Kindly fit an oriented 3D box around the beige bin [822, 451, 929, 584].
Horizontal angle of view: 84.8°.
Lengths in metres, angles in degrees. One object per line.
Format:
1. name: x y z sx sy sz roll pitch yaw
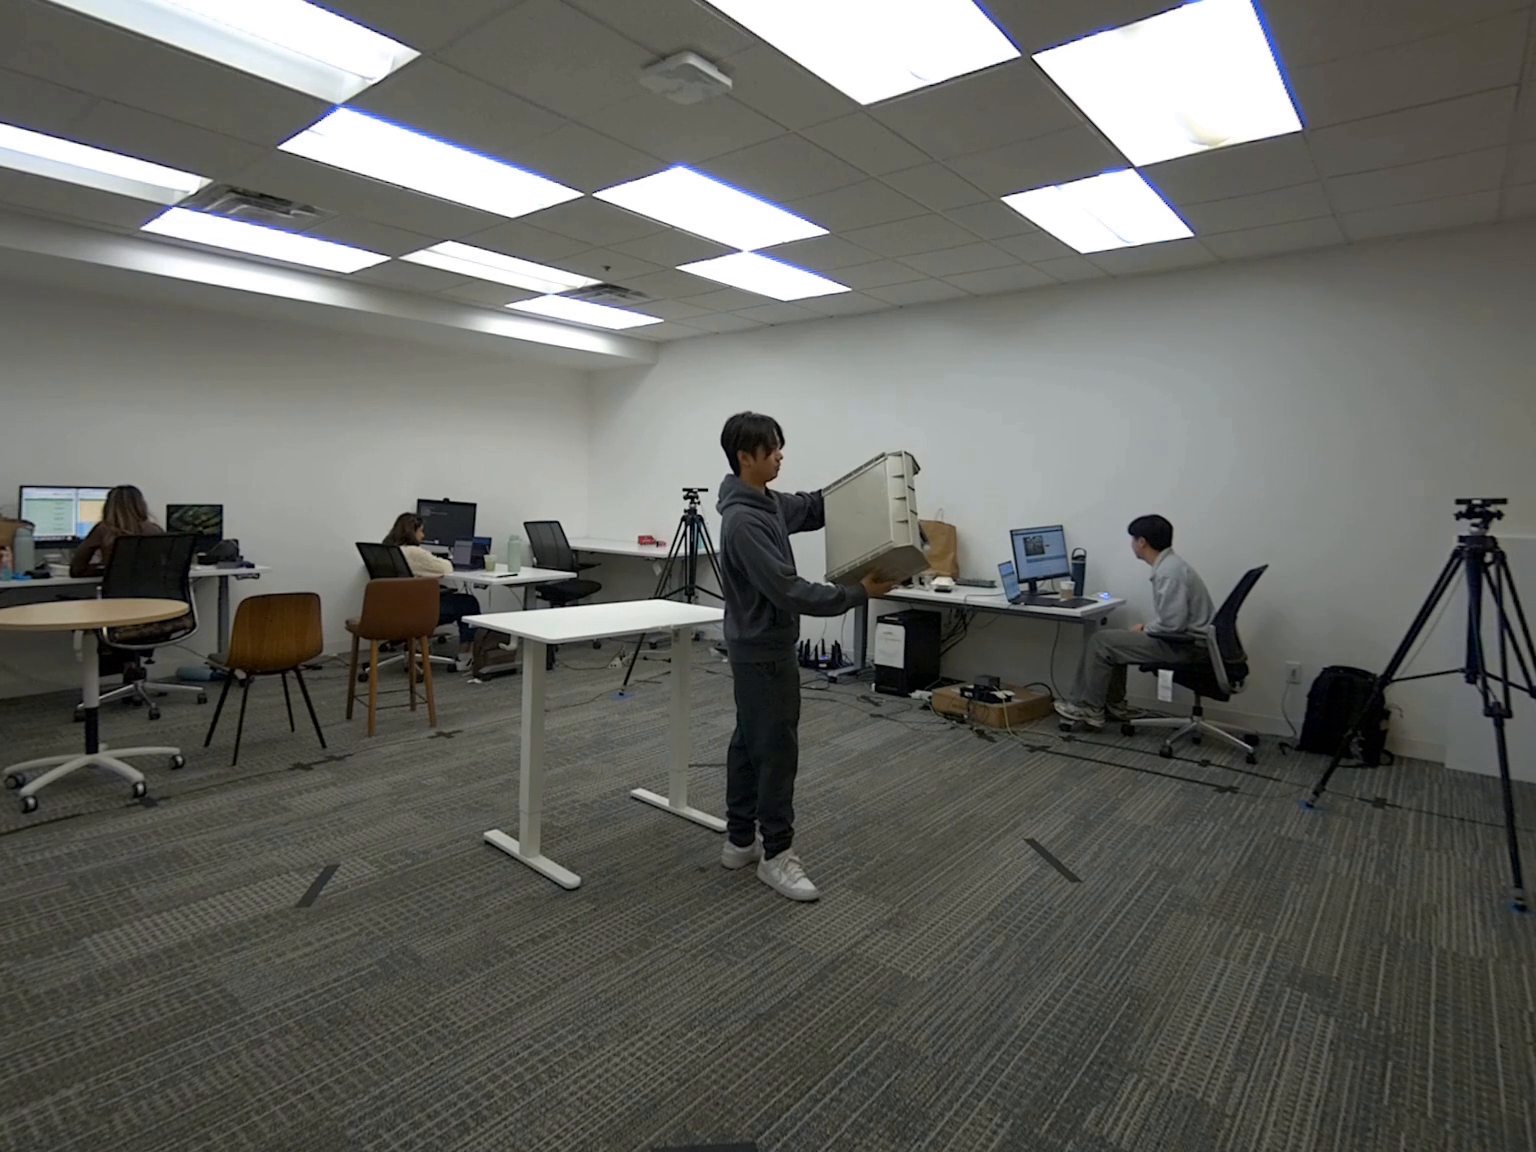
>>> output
1. beige bin: 0.384 -0.183 3.032 0.182 0.433 0.382 27 -41 -35
